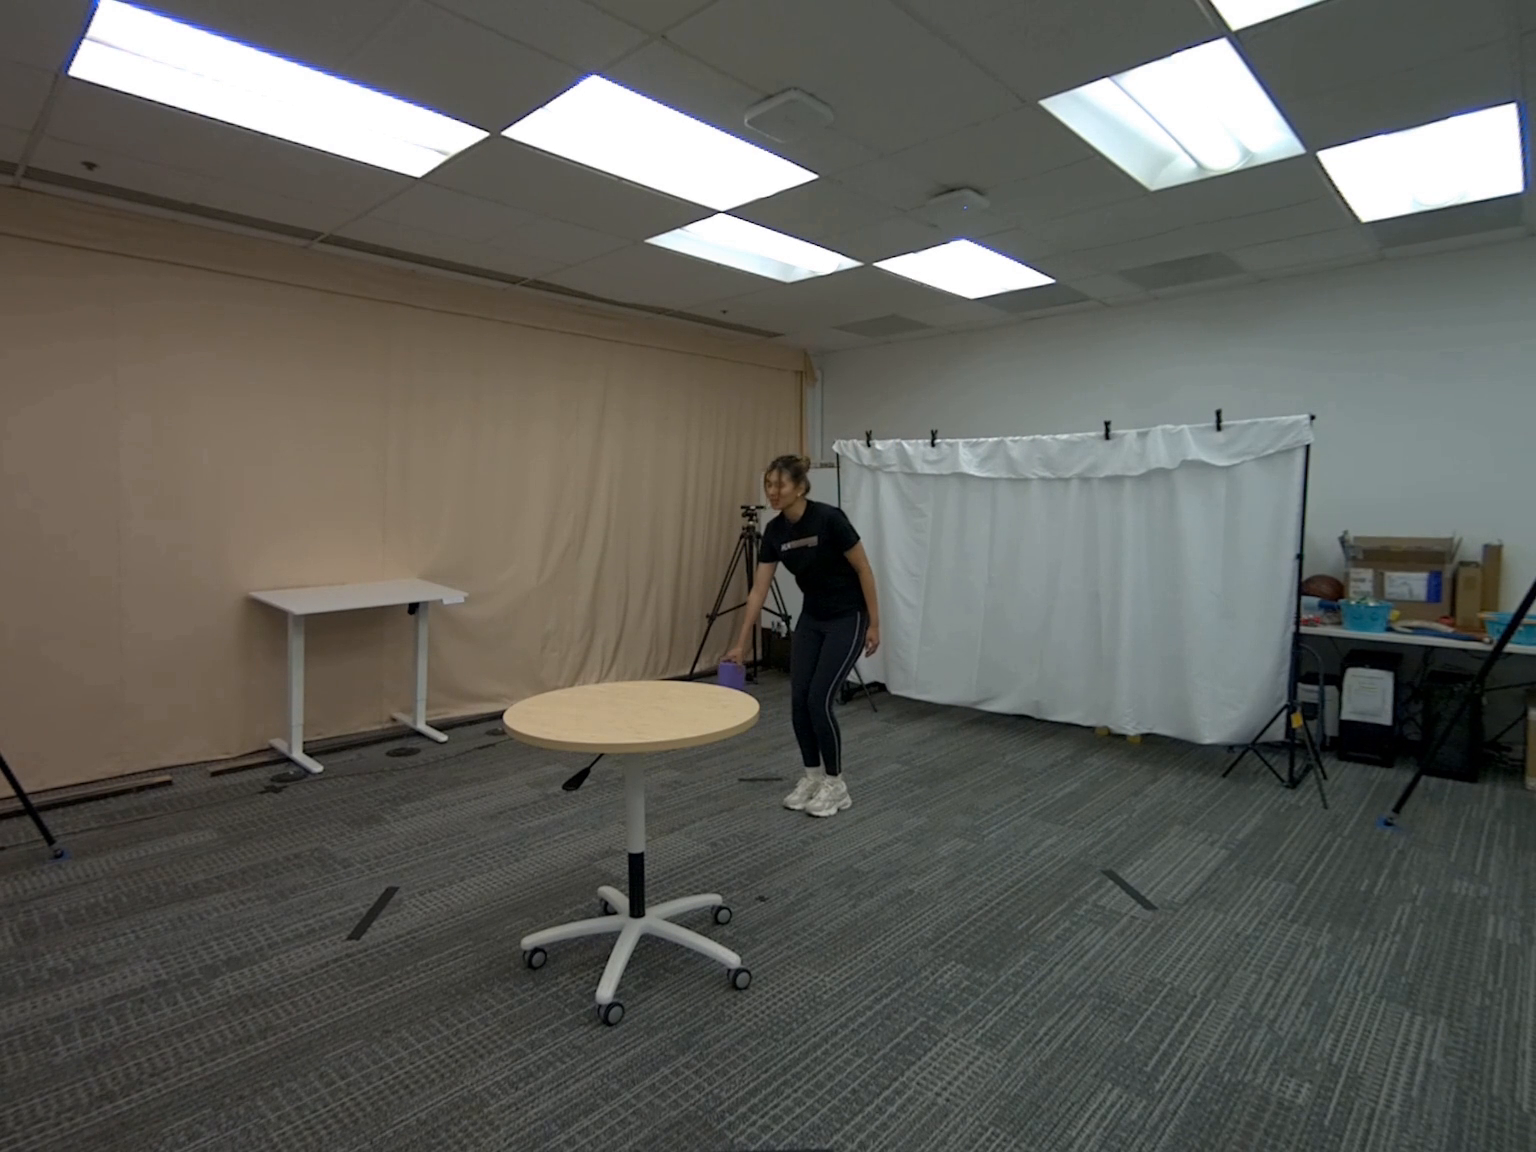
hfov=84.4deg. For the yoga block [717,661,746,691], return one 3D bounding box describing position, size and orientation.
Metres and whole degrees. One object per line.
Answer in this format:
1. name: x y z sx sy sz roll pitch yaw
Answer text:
1. yoga block: -0.173 0.528 3.944 0.078 0.230 0.145 0 -9 21
